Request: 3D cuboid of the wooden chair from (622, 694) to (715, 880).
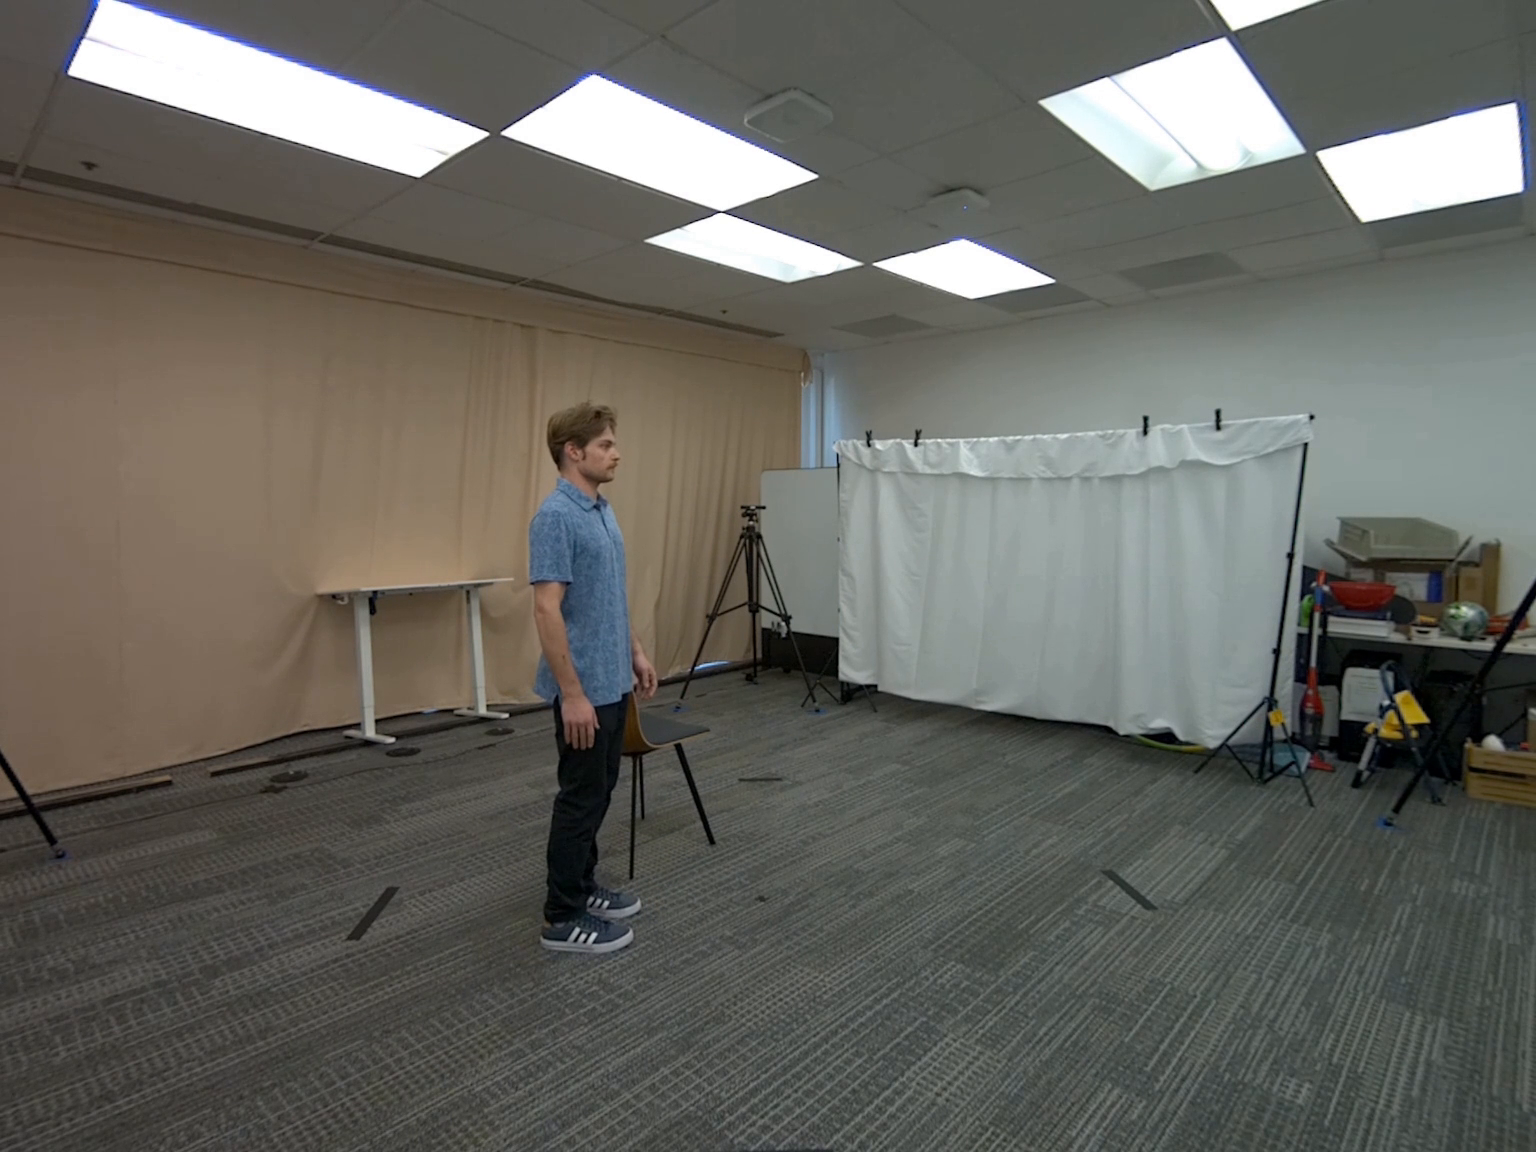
[{"bbox_3d":[-0.529,0.681,3.431,0.494,0.874,0.508,2,8,43],"label":"wooden chair"}]
